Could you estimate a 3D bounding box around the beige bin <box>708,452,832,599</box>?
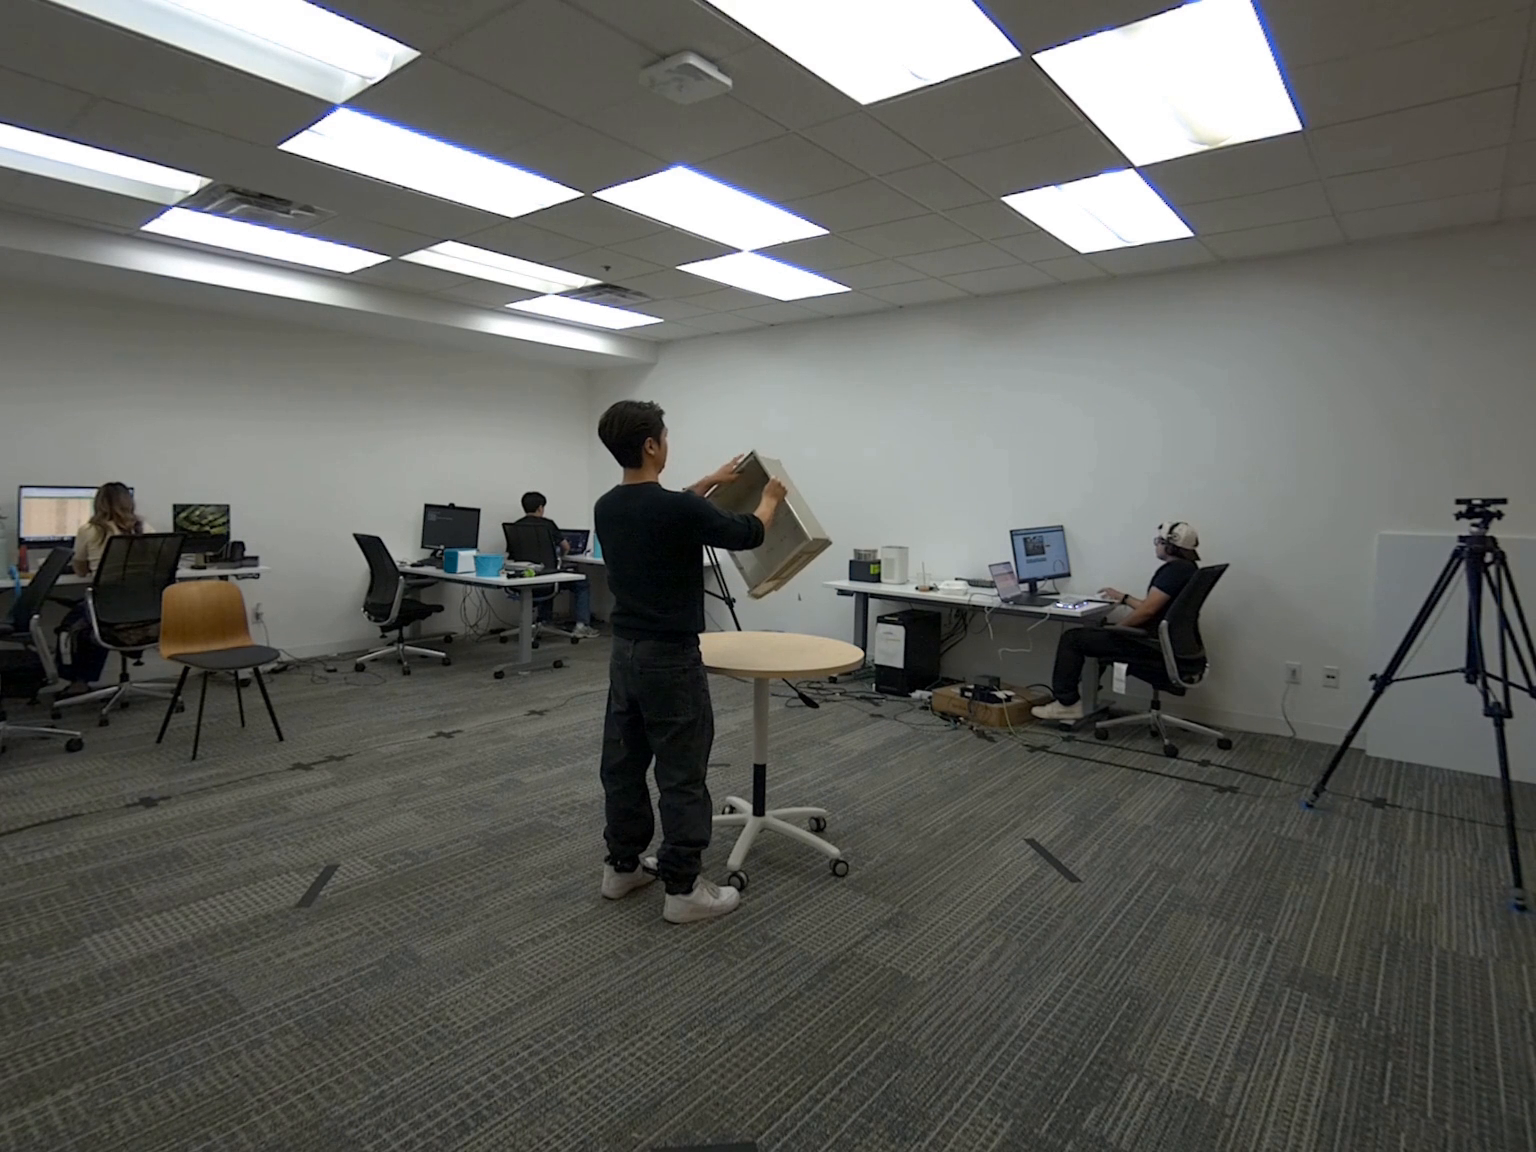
[{"bbox_3d":[-0.047,-0.190,3.208,0.378,0.435,0.183,-42,-24,25],"label":"beige bin"}]
